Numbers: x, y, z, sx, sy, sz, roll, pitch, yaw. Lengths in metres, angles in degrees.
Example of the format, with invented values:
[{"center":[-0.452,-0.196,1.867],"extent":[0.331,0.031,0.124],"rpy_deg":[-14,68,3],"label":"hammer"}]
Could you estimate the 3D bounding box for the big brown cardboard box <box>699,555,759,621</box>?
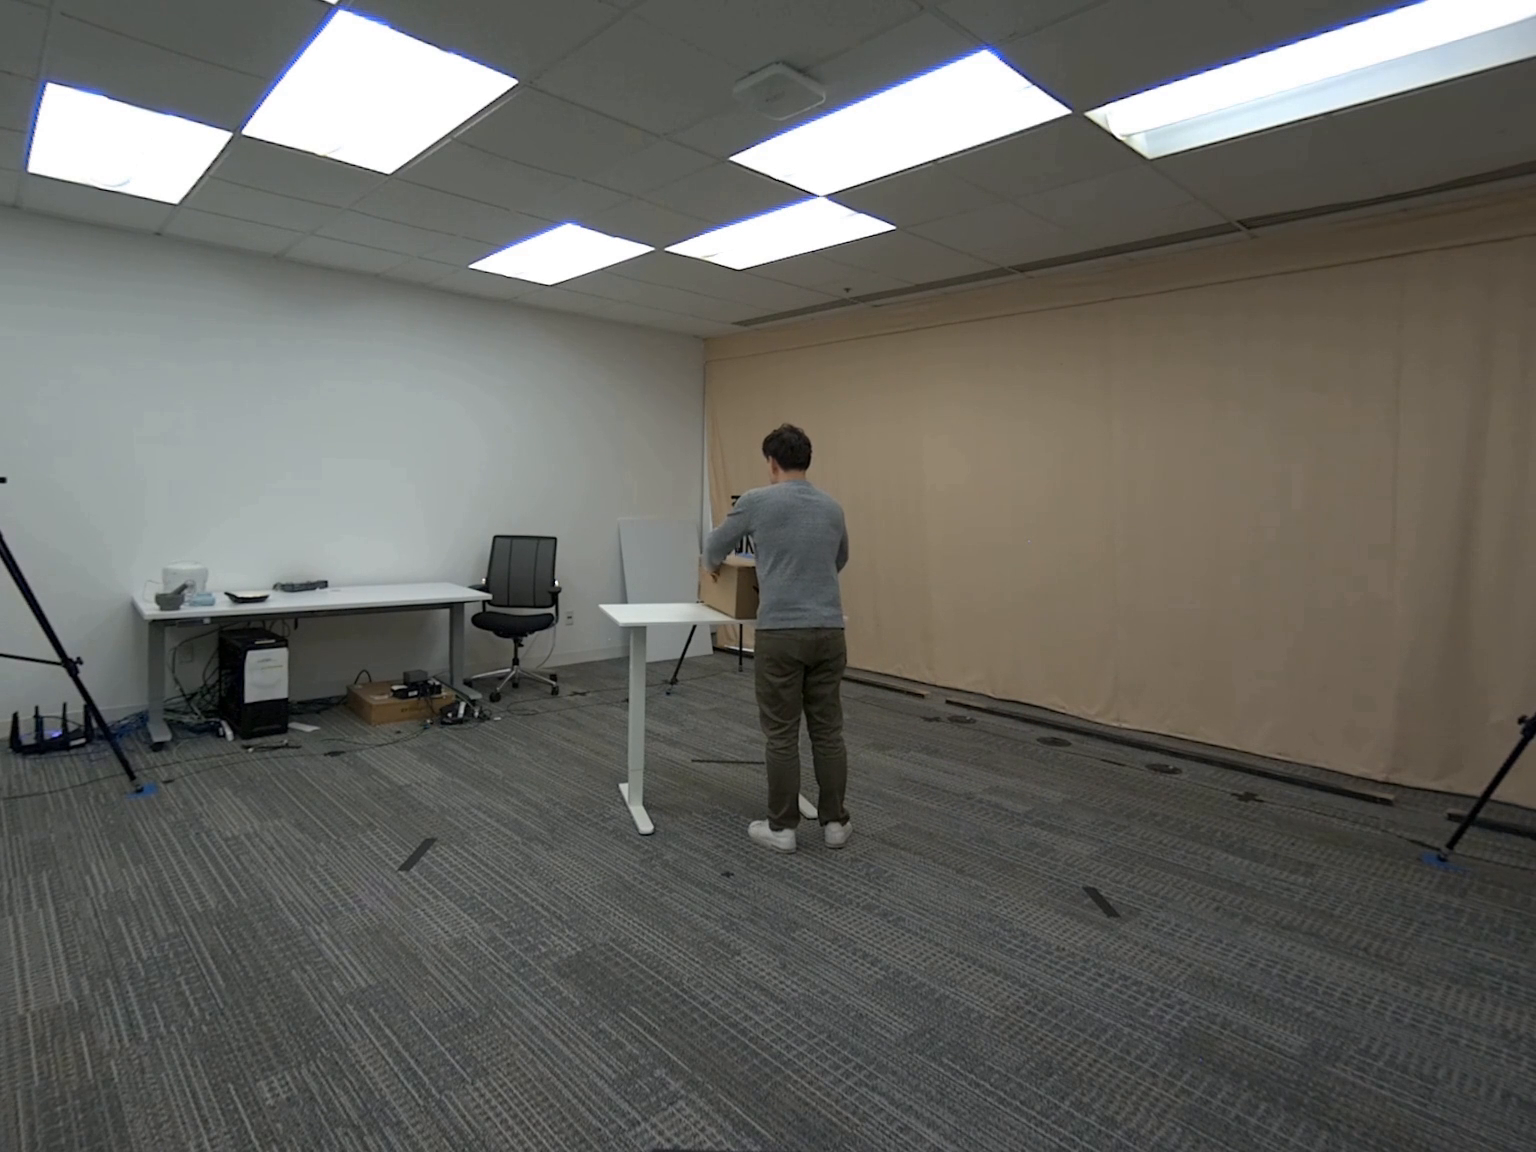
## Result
[{"center":[-0.043,0.033,3.832],"extent":[0.411,0.232,0.600],"rpy_deg":[1,6,-21],"label":"big brown cardboard box"}]
